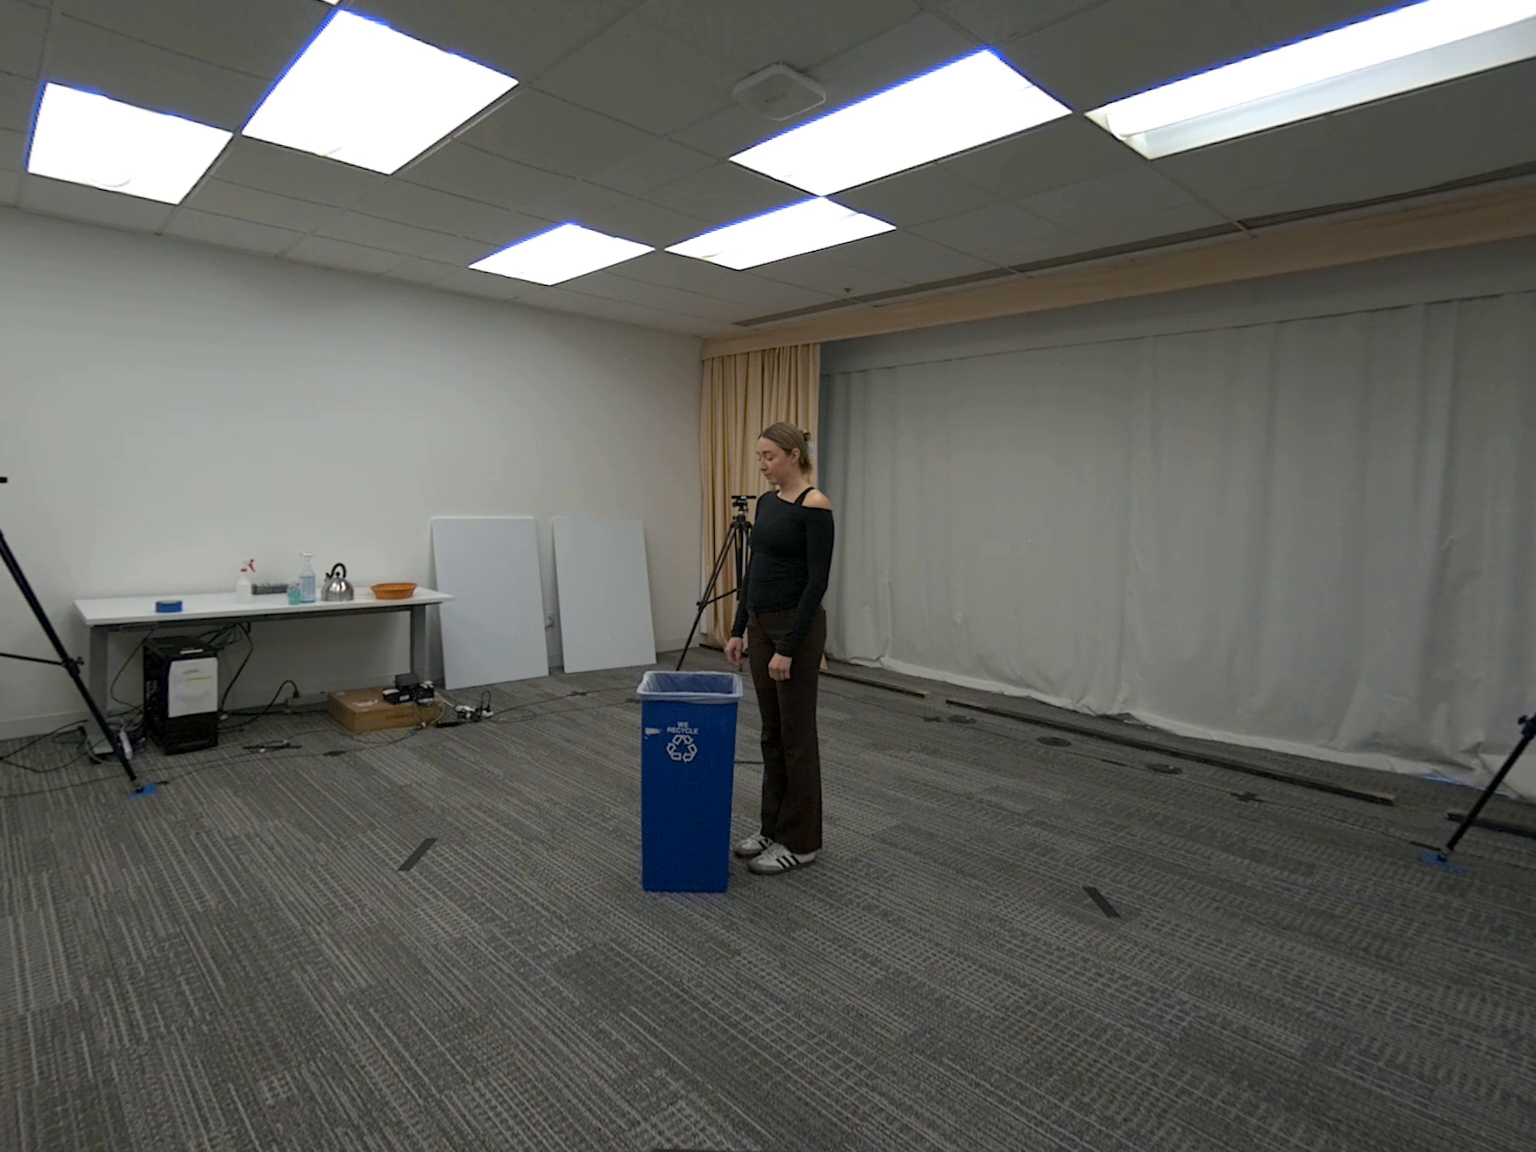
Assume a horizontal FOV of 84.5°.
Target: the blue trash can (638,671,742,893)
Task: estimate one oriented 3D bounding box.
[{"bbox_3d":[-0.291,0.742,3.083,0.374,0.711,0.379,1,4,-1],"label":"blue trash can"}]
